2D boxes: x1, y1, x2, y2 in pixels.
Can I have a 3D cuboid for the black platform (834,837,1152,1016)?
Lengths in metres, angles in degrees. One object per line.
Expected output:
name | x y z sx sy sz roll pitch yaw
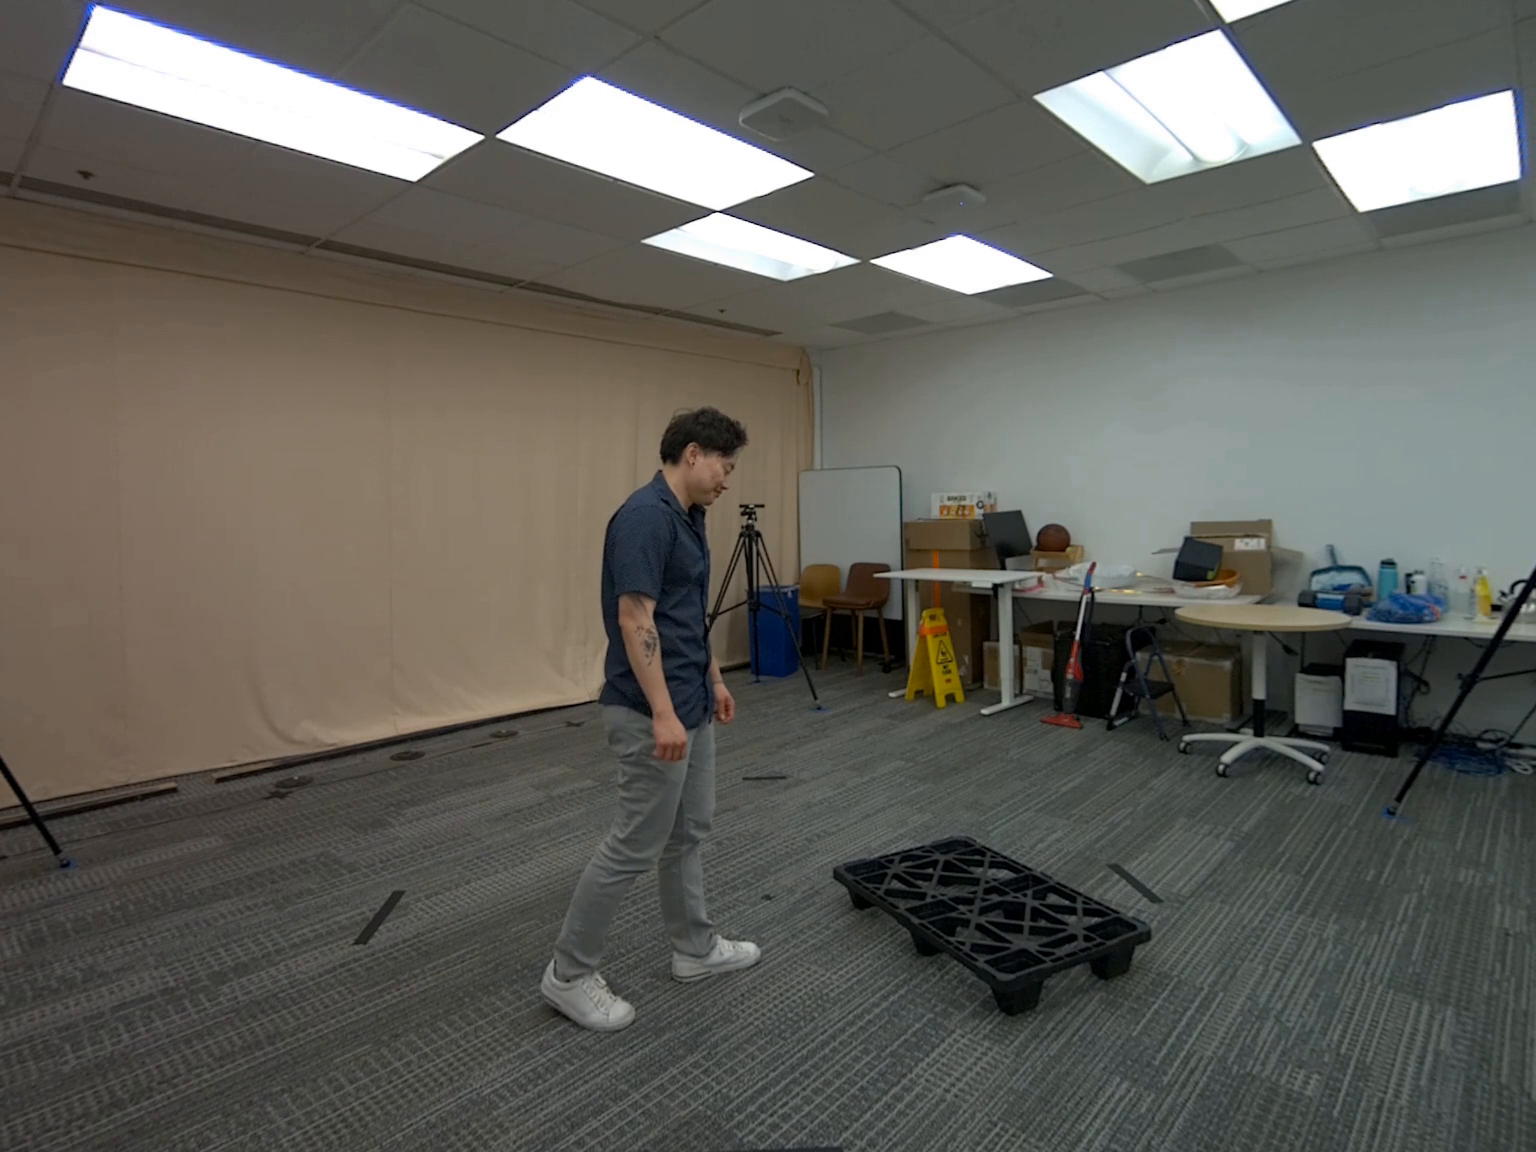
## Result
black platform | 0.684 1.085 2.698 0.590 0.143 0.828 -3 5 -28
